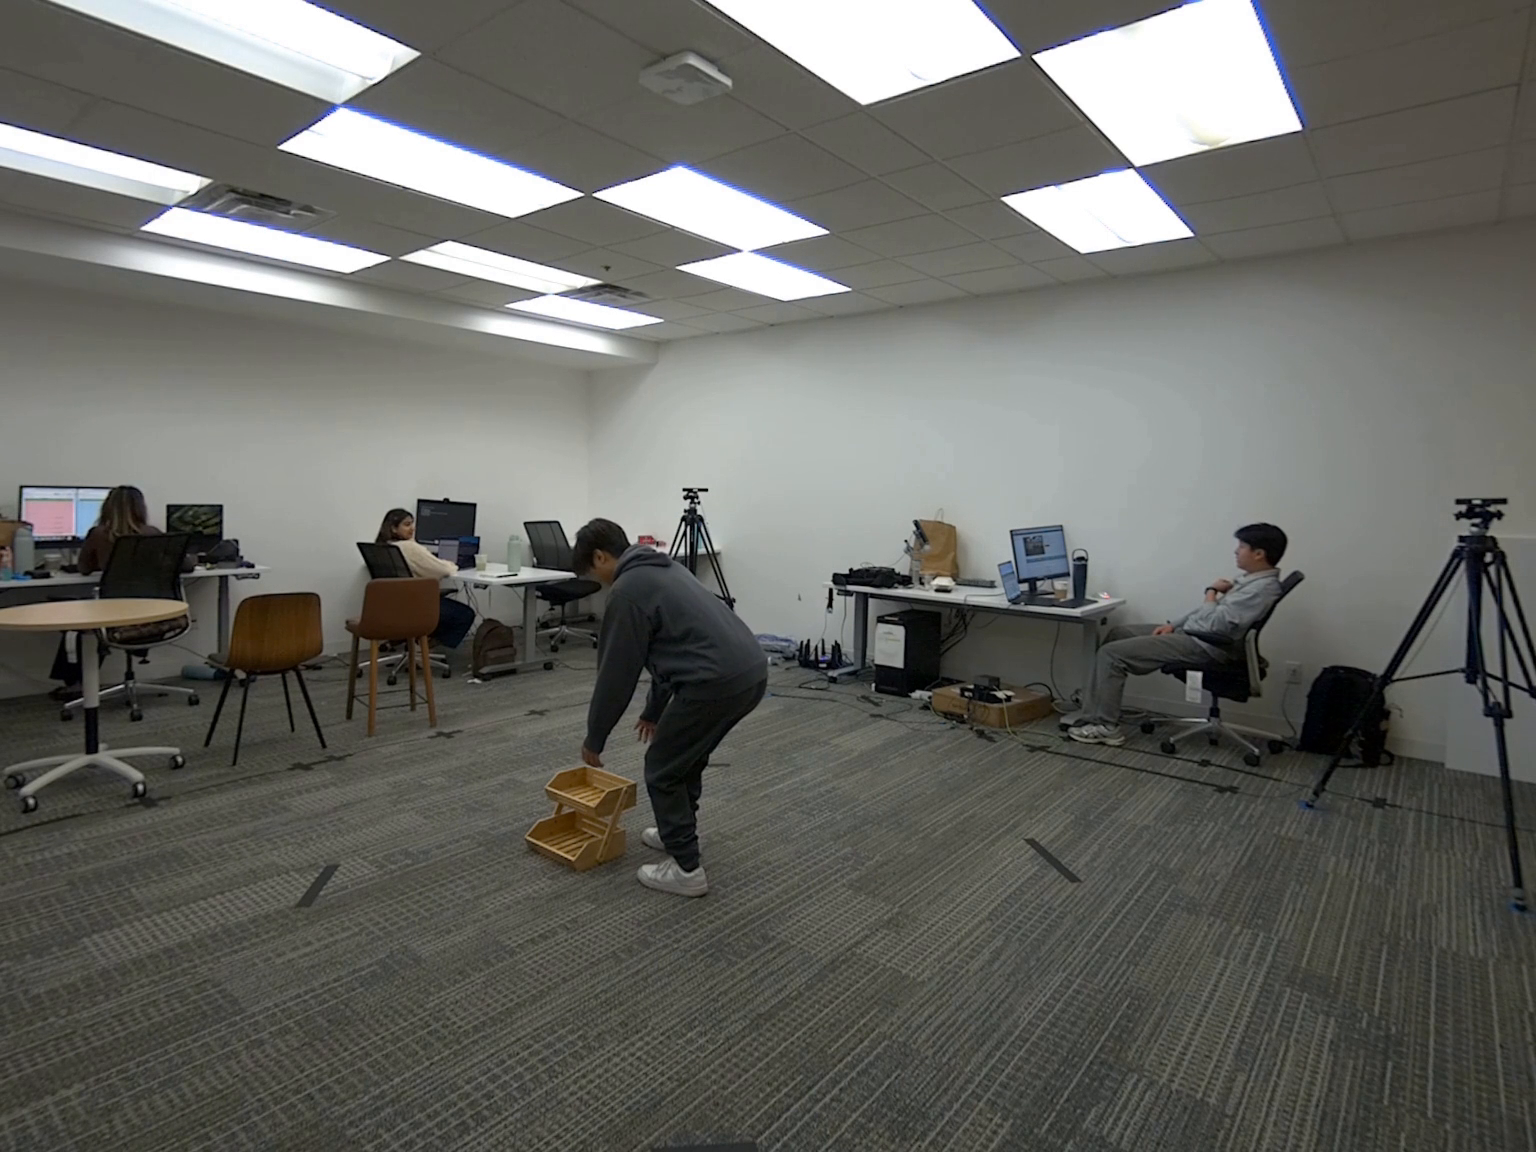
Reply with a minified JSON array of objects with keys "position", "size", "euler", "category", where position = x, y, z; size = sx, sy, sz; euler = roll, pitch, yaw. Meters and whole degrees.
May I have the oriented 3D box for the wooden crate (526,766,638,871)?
[{"position":[-0.731,0.915,3.260],"size":[0.335,0.272,0.293],"euler":[5,5,39],"category":"wooden crate"}]
